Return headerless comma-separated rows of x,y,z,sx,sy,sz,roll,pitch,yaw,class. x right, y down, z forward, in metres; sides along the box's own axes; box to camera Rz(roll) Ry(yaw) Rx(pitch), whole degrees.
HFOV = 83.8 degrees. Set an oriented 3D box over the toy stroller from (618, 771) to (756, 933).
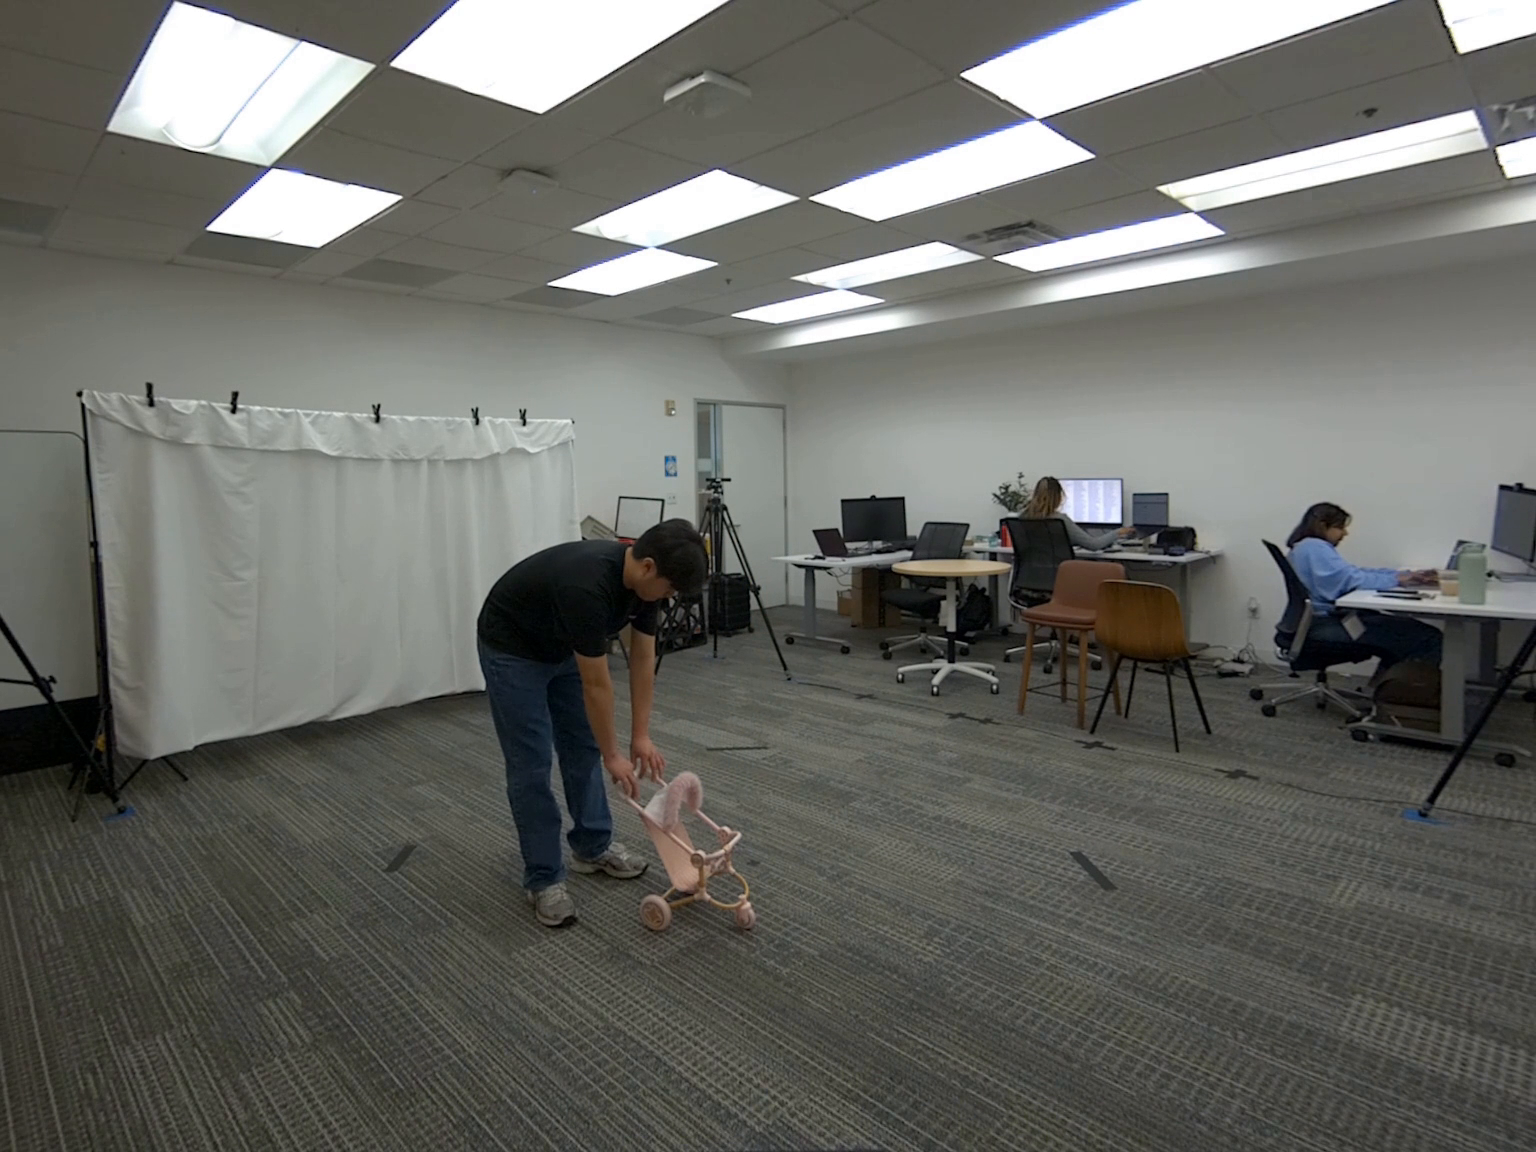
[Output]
-0.246,0.865,2.722,0.347,0.537,0.275,-17,-3,29,toy stroller
